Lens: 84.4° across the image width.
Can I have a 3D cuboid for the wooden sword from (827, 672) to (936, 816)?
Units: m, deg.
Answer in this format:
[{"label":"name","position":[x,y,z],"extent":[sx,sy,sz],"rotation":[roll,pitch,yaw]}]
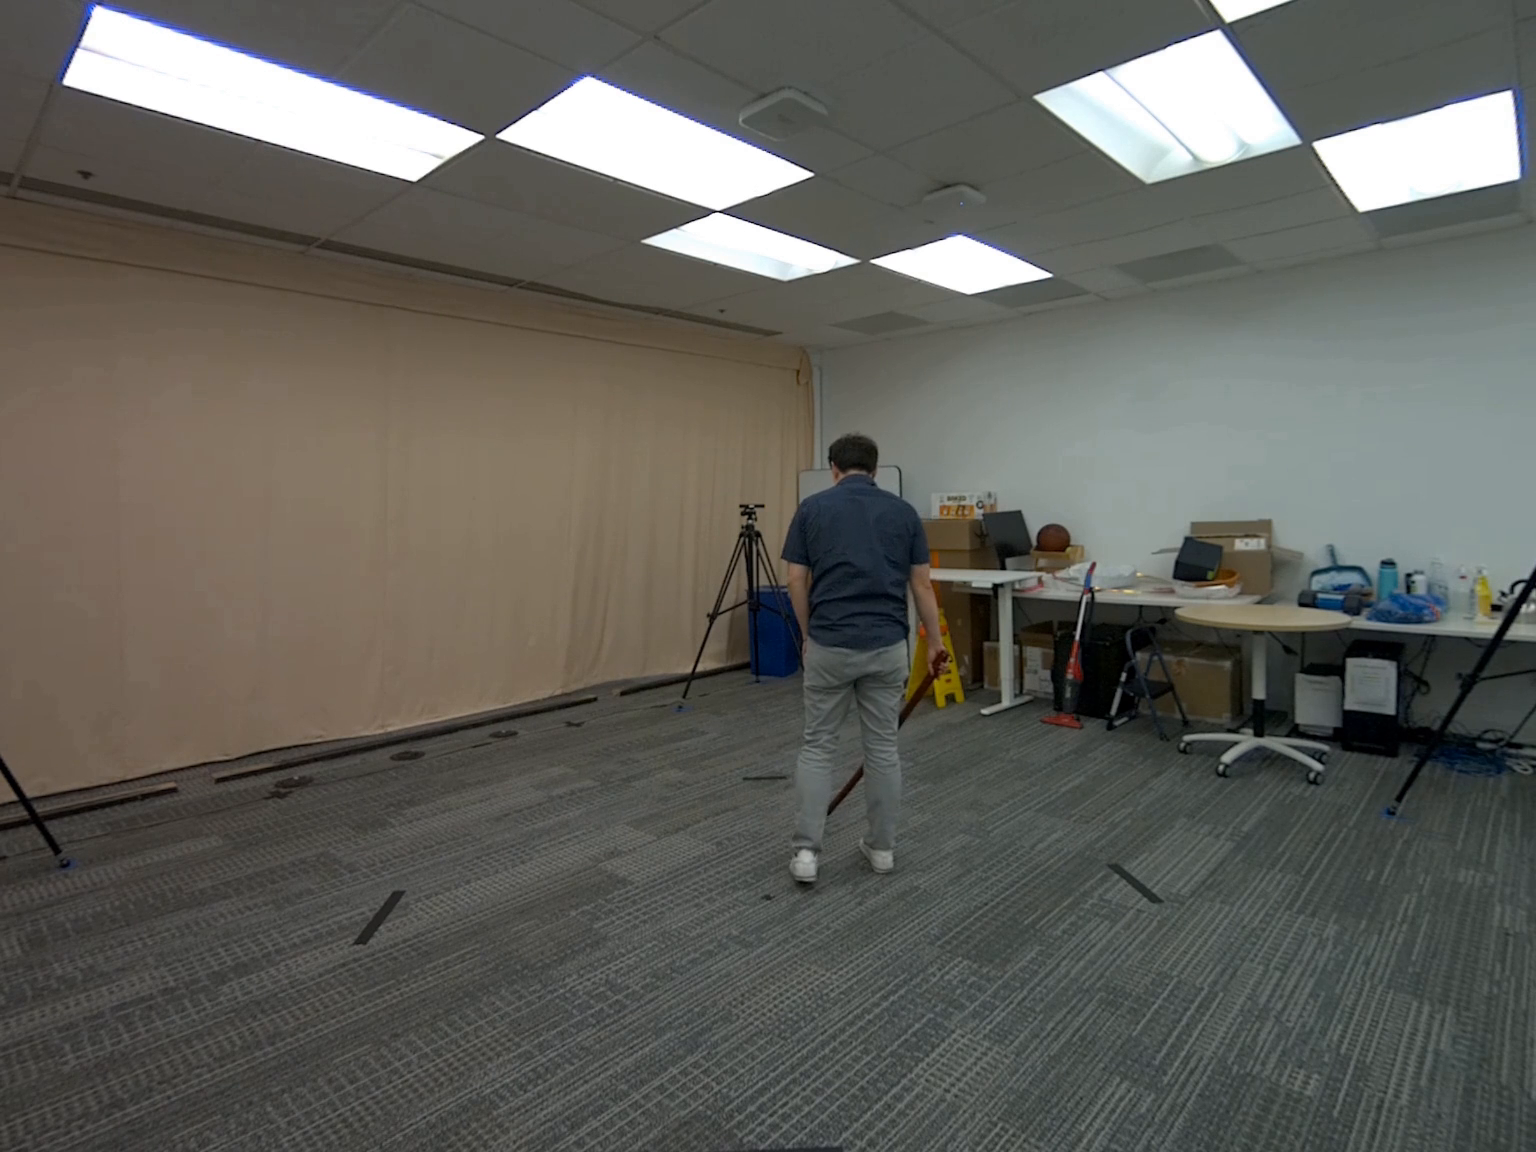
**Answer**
[{"label":"wooden sword","position":[0.465,0.693,3.471],"extent":[0.049,1.026,0.025],"rotation":[0,42,-48]}]
